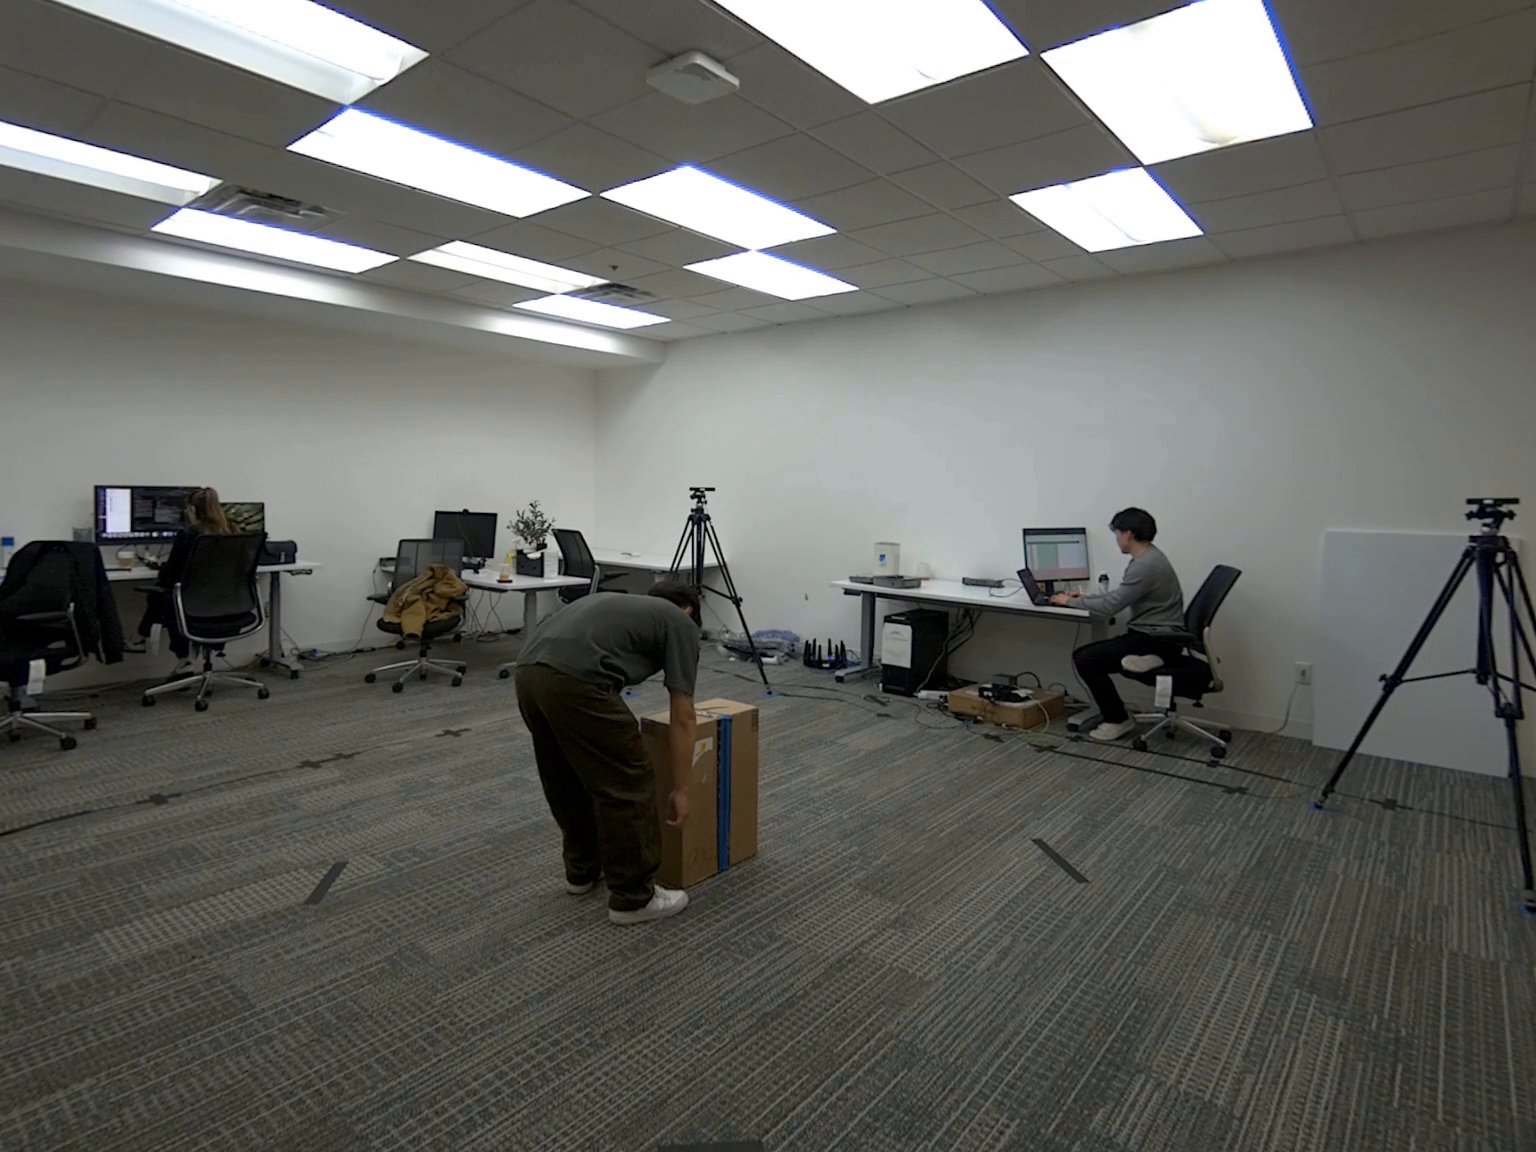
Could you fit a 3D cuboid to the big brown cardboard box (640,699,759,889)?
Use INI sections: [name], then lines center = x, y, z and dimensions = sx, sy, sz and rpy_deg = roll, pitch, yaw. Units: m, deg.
[big brown cardboard box]
center = -0.254, 0.775, 3.140
dimensions = 0.241, 0.586, 0.405
rpy_deg = 4, 6, 40
